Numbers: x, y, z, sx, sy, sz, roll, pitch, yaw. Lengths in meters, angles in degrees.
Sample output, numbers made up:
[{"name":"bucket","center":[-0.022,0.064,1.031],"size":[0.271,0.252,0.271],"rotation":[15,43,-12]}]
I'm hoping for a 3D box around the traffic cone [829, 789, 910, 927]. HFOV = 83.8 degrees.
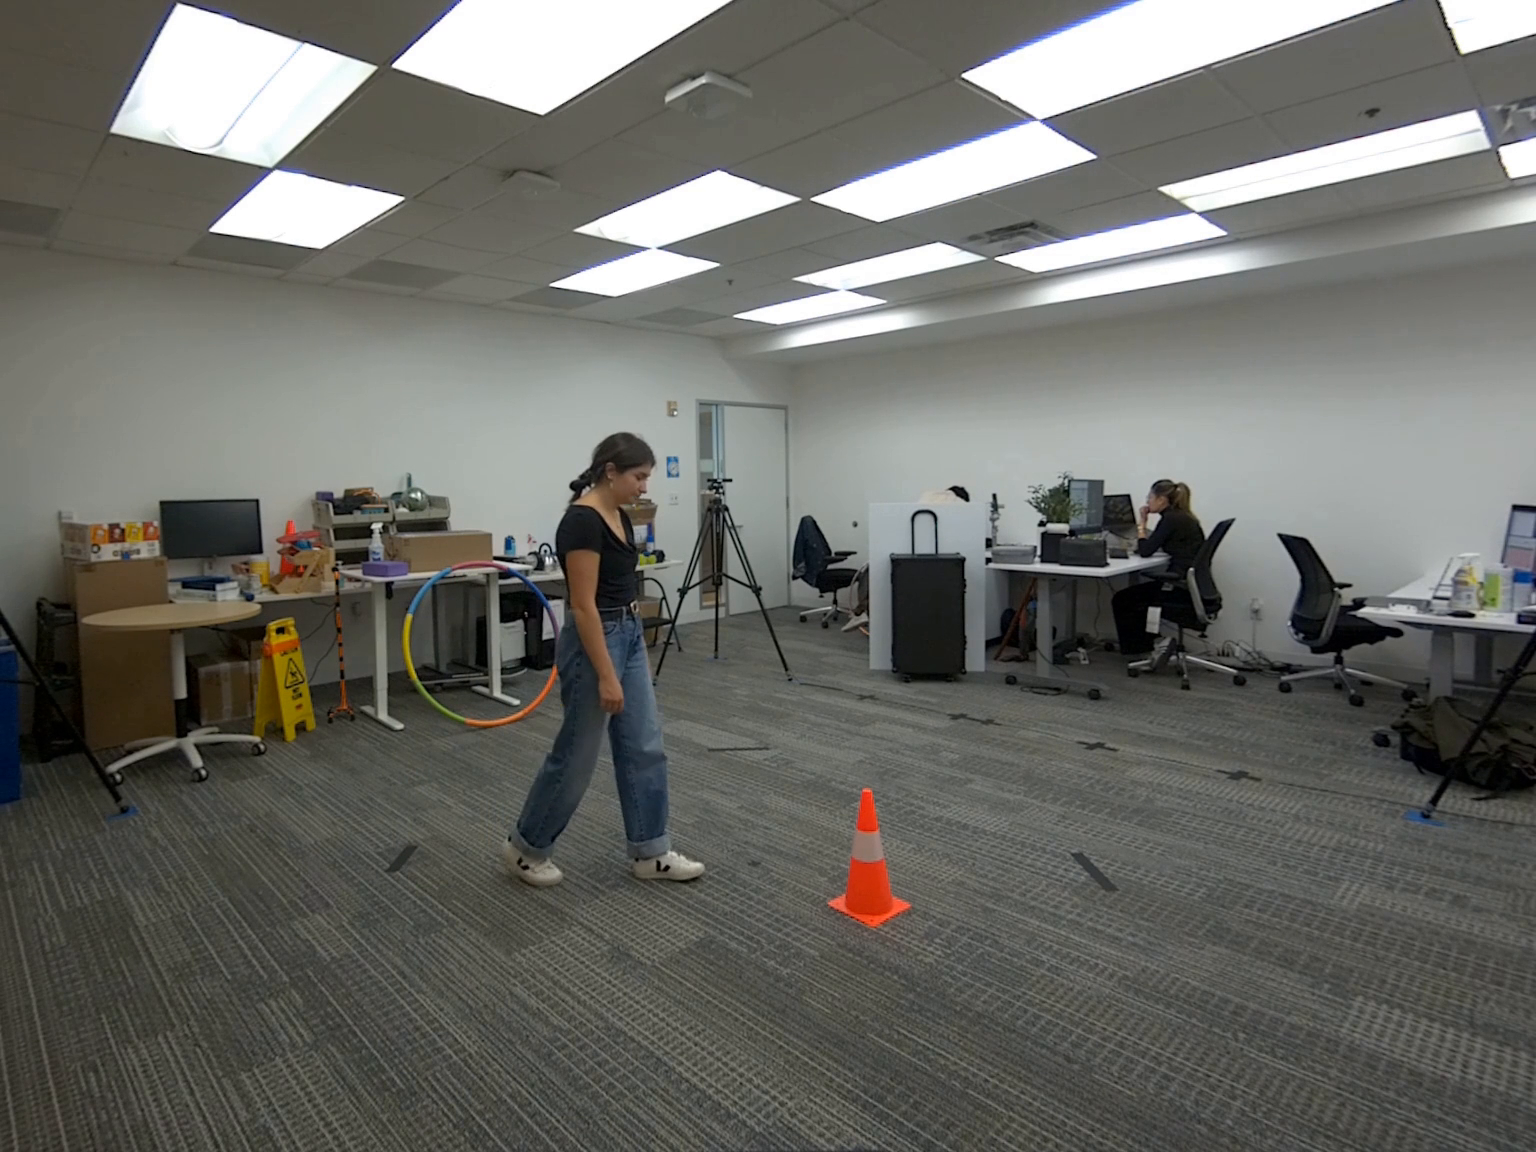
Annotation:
[{"name":"traffic cone","center":[0.320,0.882,2.781],"size":[0.198,0.382,0.211],"rotation":[-4,4,-42]}]
